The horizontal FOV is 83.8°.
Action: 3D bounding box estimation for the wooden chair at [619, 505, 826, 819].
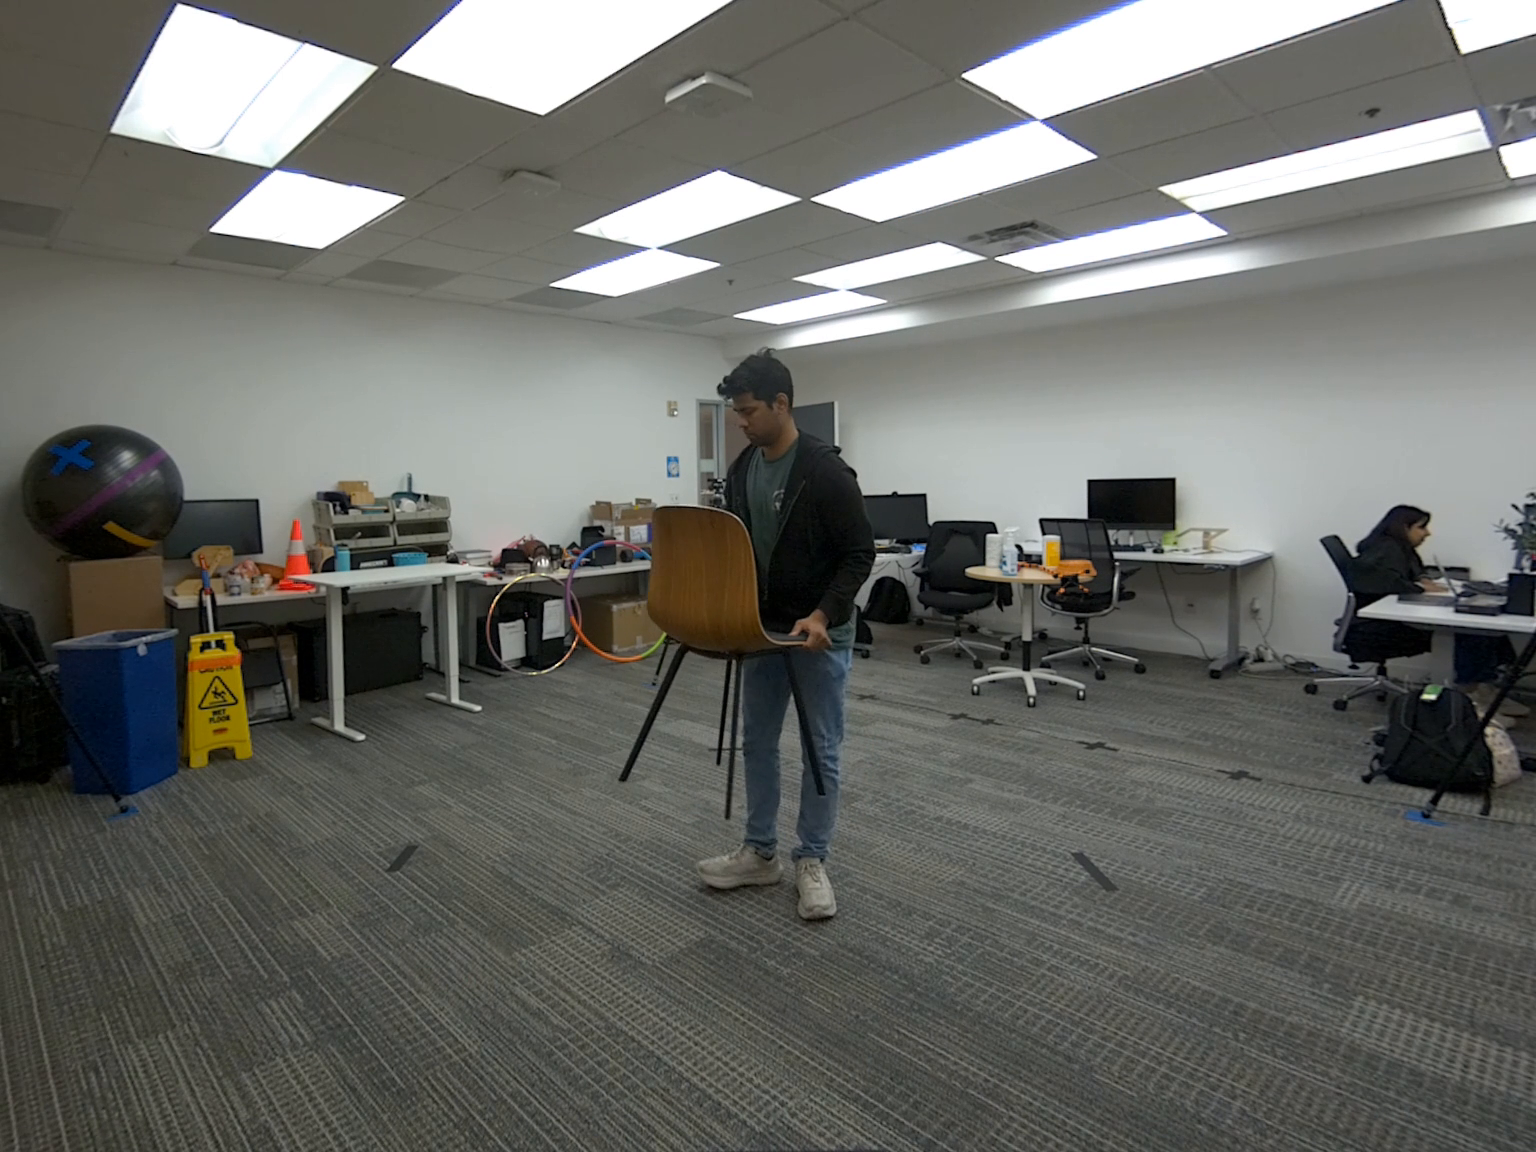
[{"bbox_3d":[-0.102,0.235,2.637,0.492,0.877,0.508,3,1,40],"label":"wooden chair"}]
